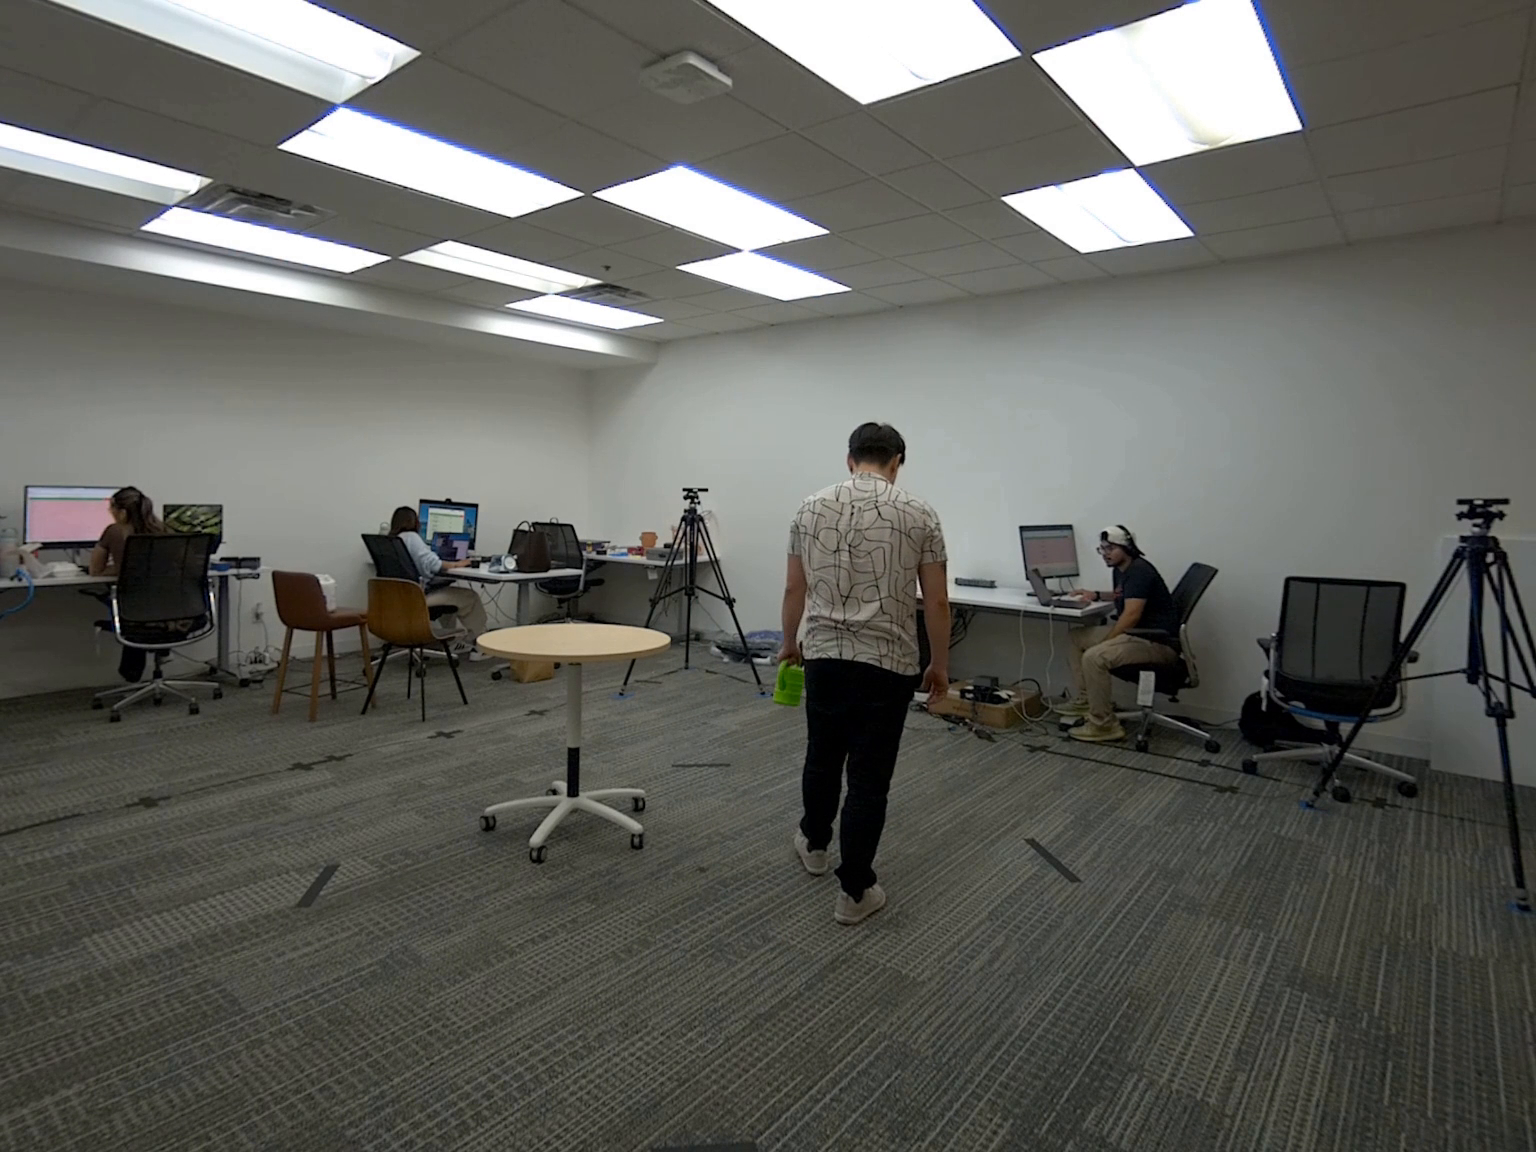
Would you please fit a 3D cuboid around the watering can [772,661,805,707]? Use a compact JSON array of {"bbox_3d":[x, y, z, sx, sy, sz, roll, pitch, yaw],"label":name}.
[{"bbox_3d":[0.102,0.389,3.143,0.101,0.177,0.268,4,-6,39],"label":"watering can"}]
